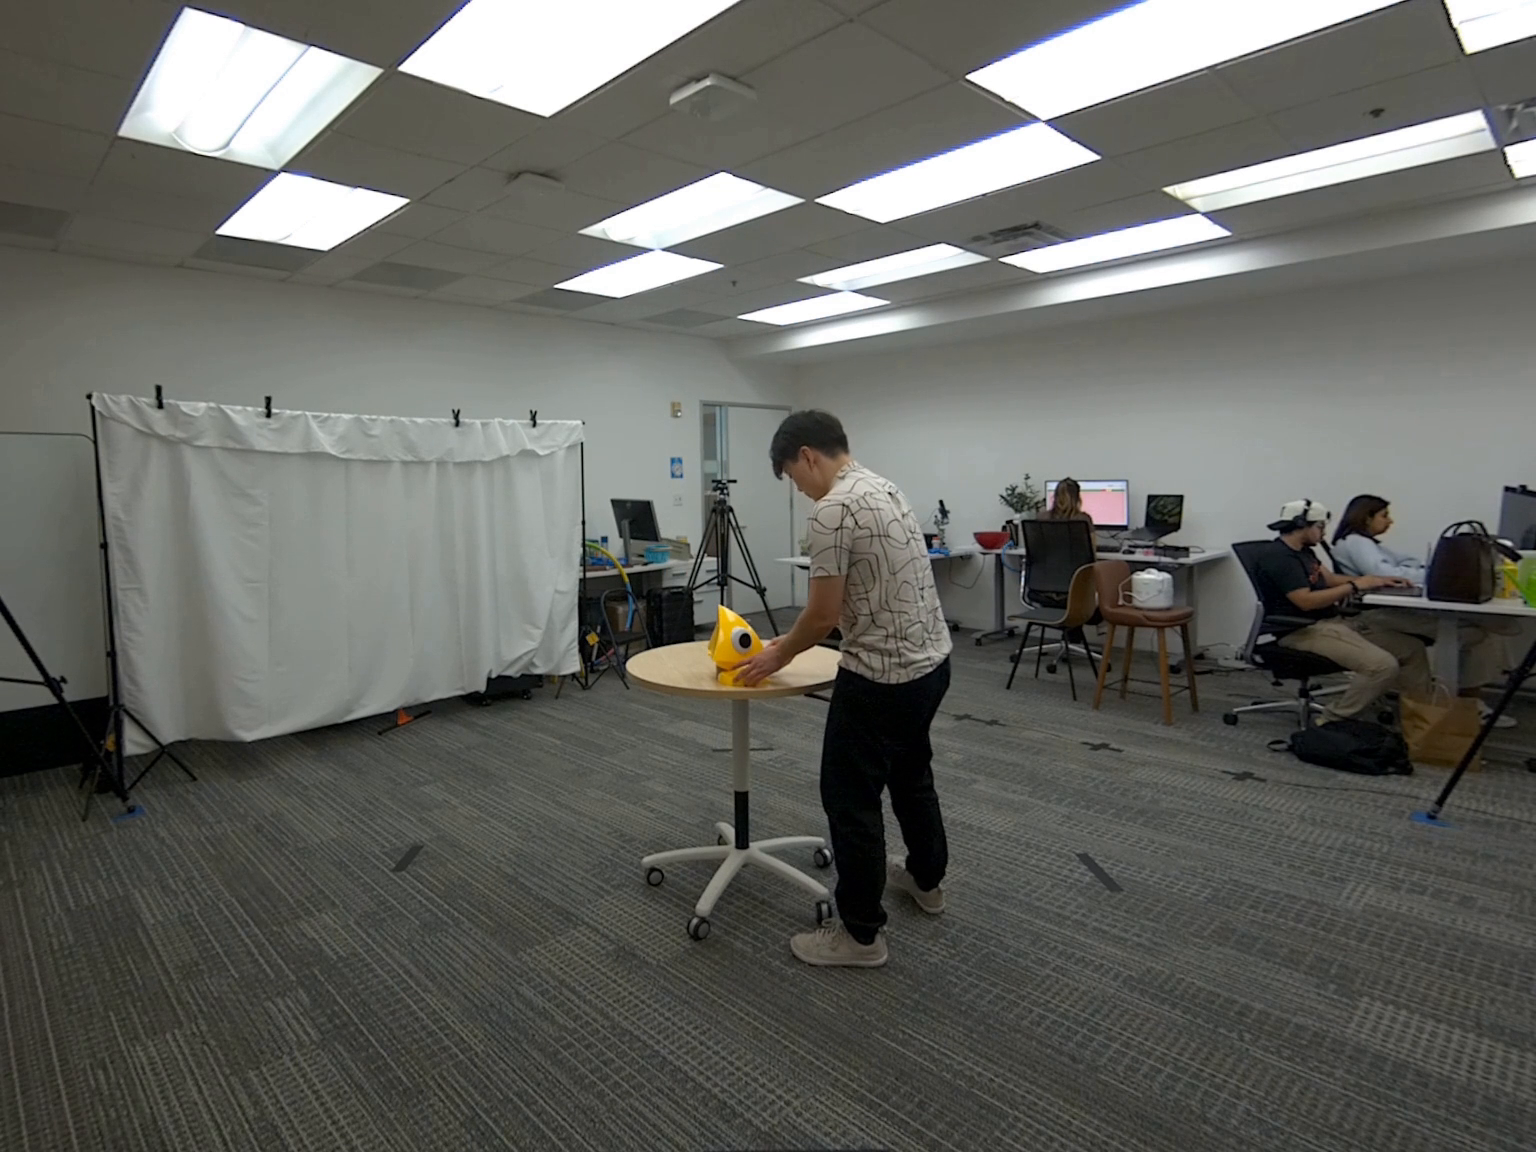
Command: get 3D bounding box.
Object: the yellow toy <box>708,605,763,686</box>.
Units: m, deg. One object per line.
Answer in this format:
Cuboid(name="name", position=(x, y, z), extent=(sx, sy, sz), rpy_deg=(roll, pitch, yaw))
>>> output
Cuboid(name="yellow toy", position=(-0.085, 0.203, 2.651), extent=(0.192, 0.230, 0.207), rpy_deg=(-1, 4, -8))
